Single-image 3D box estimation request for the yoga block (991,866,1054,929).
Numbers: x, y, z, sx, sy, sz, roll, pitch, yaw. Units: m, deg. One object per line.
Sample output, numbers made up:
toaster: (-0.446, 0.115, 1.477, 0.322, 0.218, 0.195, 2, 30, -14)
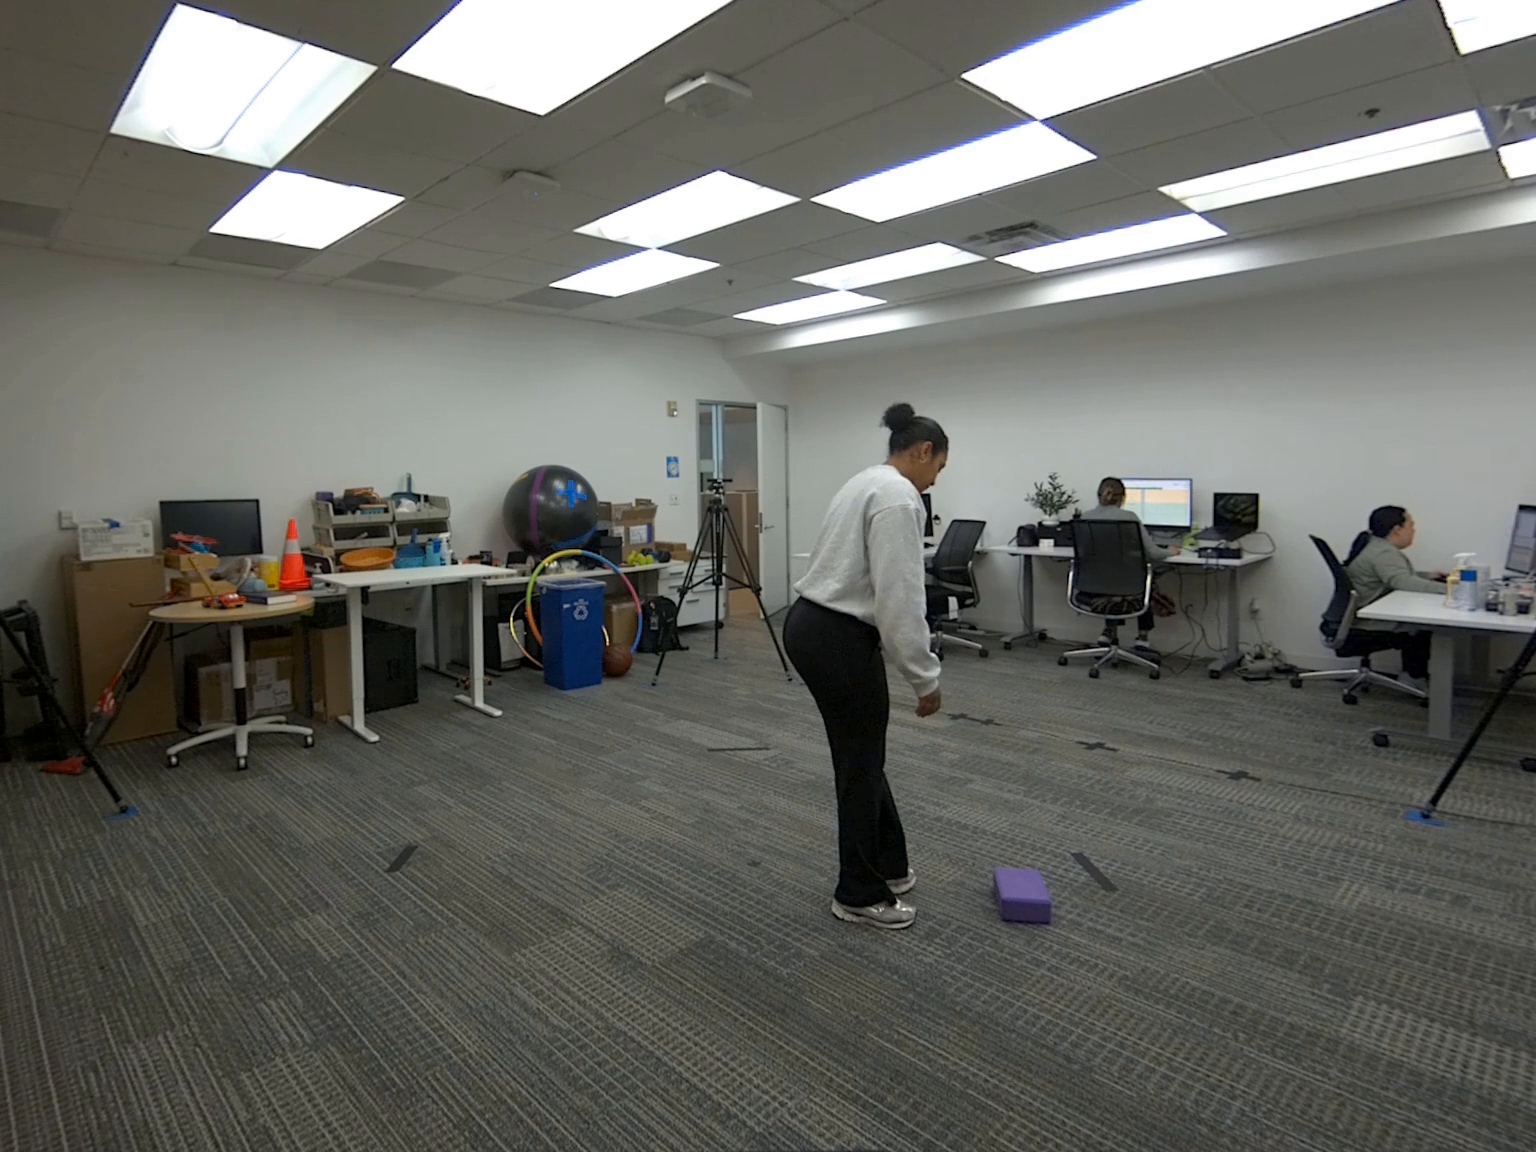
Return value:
yoga block: (0.816, 1.025, 2.762, 0.150, 0.076, 0.228, -1, 6, 9)
